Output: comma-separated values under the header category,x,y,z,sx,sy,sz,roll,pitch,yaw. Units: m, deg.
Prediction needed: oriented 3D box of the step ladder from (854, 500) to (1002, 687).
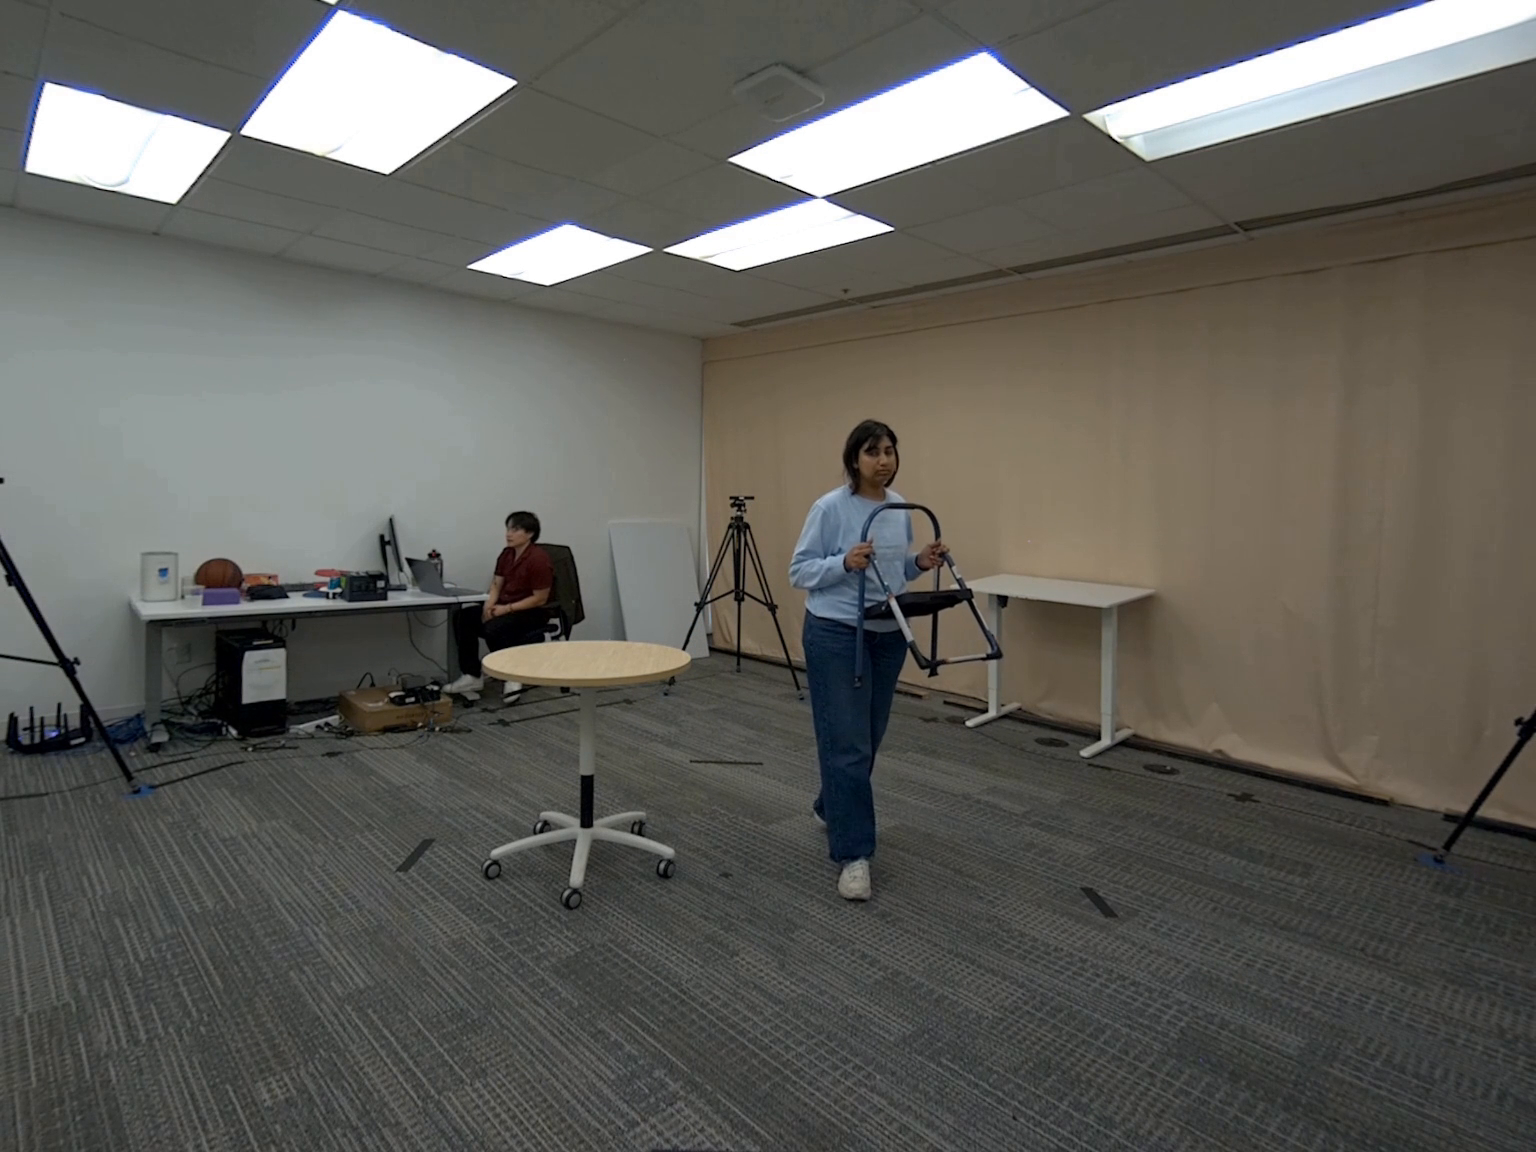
category,x,y,z,sx,sy,sz,roll,pitch,yaw
step ladder,0.493,0.049,3.021,0.421,0.613,0.353,-1,-17,-38
